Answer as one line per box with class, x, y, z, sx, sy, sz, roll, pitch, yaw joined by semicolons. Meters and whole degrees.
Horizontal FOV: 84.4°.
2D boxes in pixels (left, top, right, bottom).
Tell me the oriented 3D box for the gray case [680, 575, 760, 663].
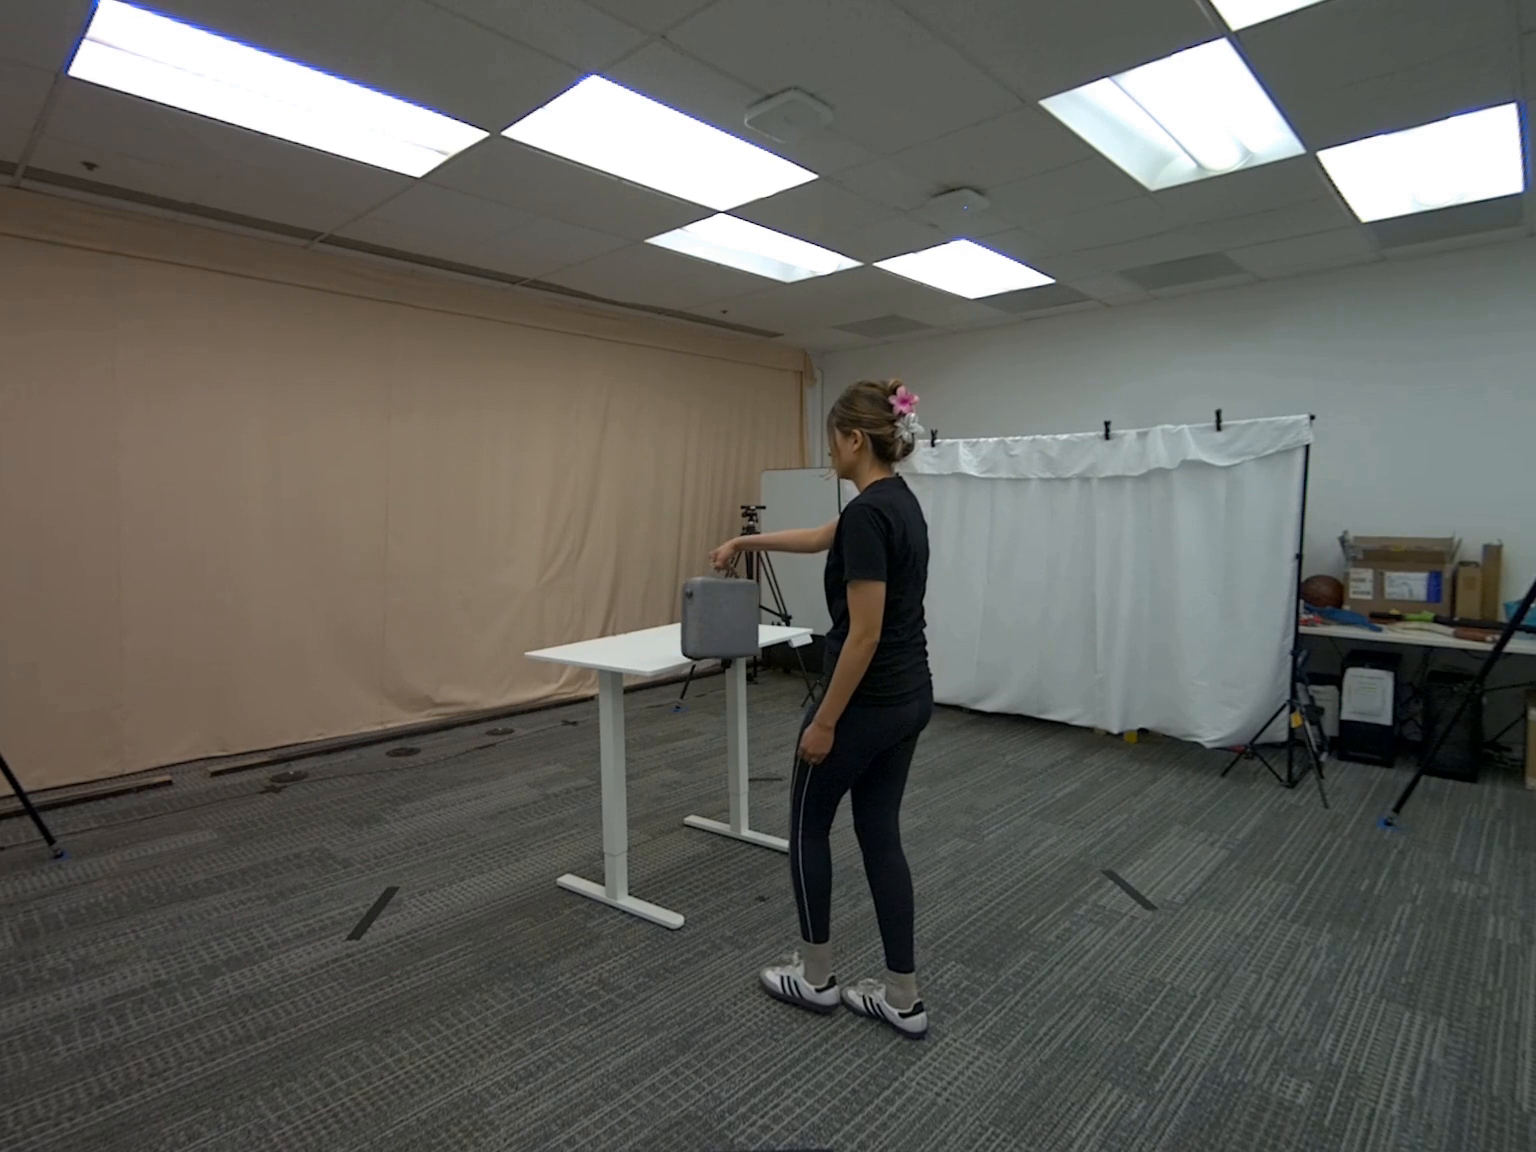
gray case;-0.146;0.136;2.663;0.249;0.261;0.107;1;-4;-35
